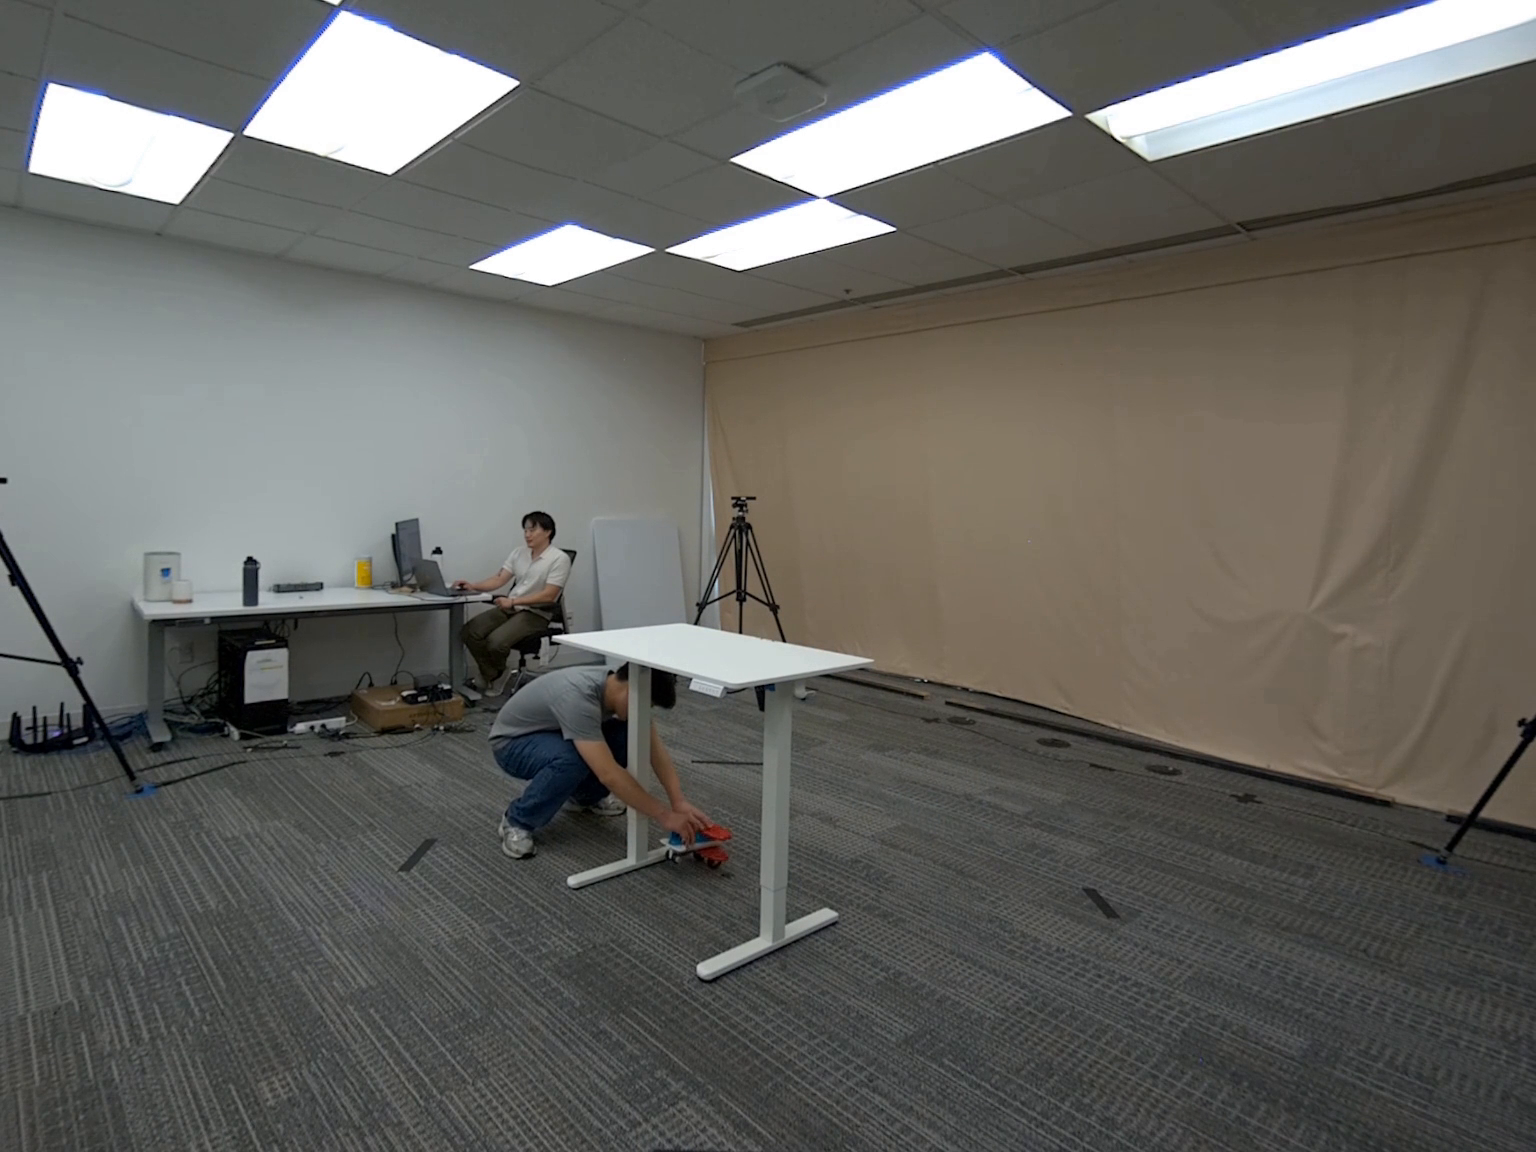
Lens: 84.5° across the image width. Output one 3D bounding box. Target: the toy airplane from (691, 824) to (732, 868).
[{"bbox_3d":[-0.257,0.995,3.143,0.255,0.157,0.253,14,-10,18],"label":"toy airplane"}]
